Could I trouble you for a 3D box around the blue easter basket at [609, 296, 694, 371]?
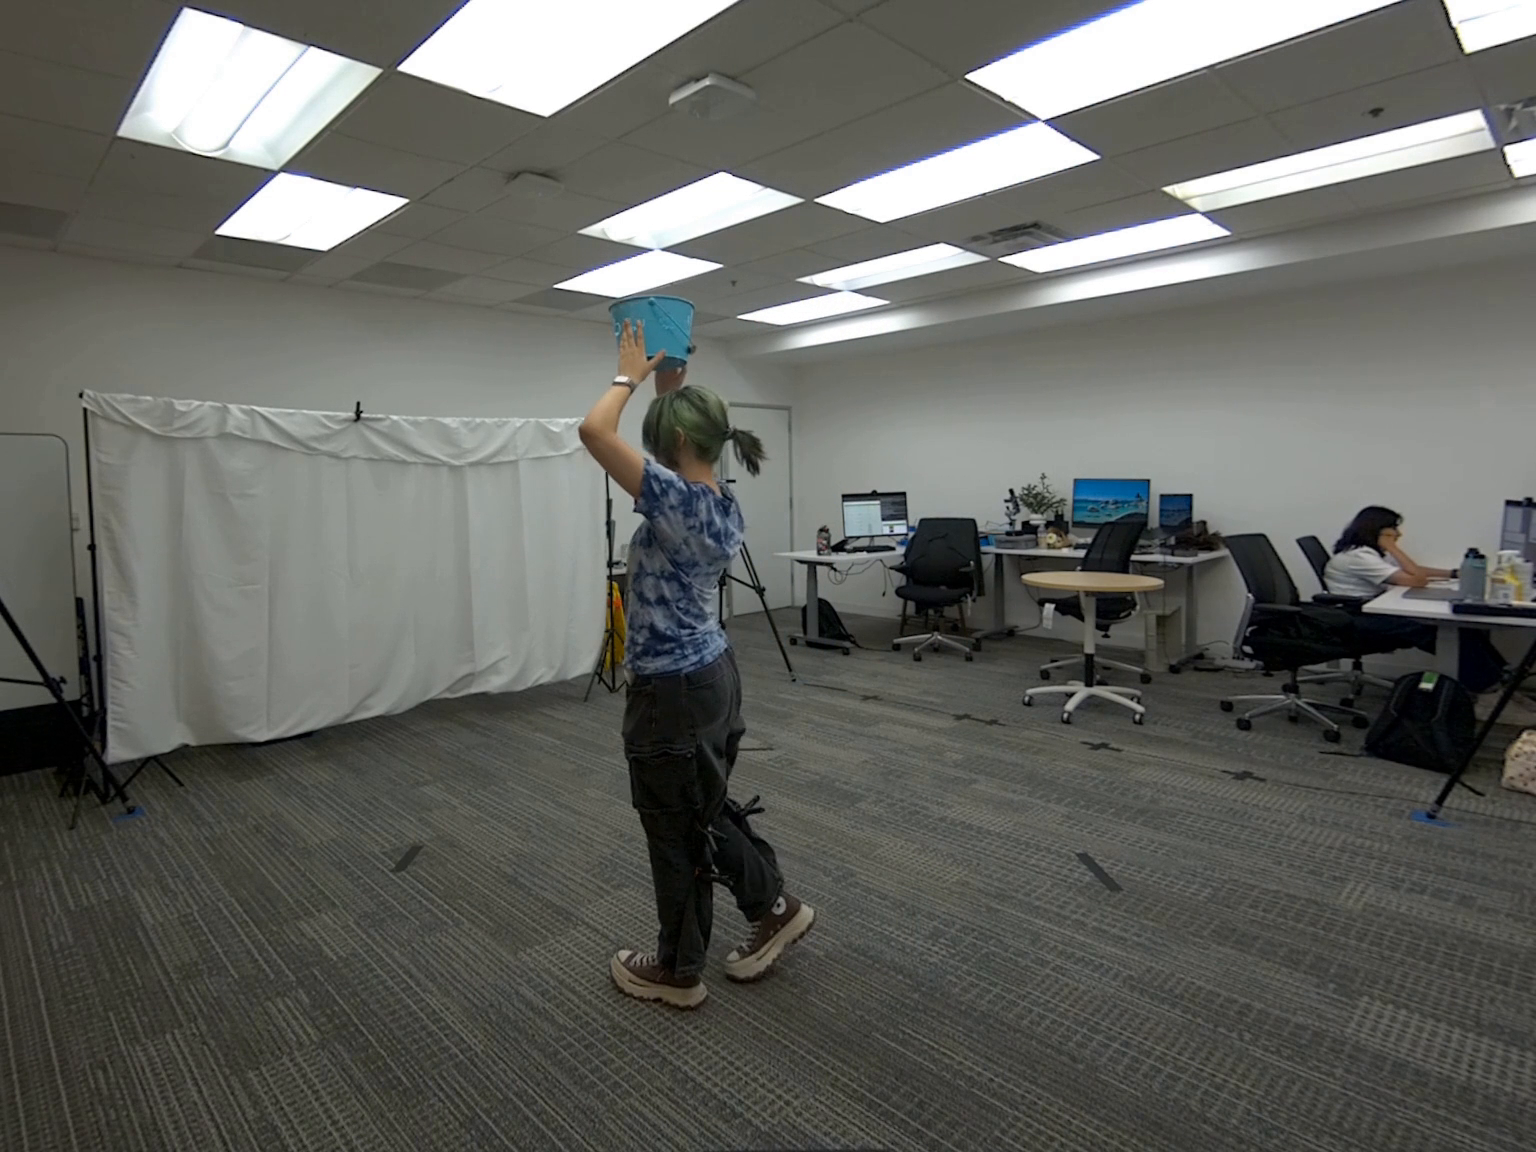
[{"bbox_3d":[-0.304,-0.649,2.297,0.243,0.156,0.243,-6,0,-2],"label":"blue easter basket"}]
